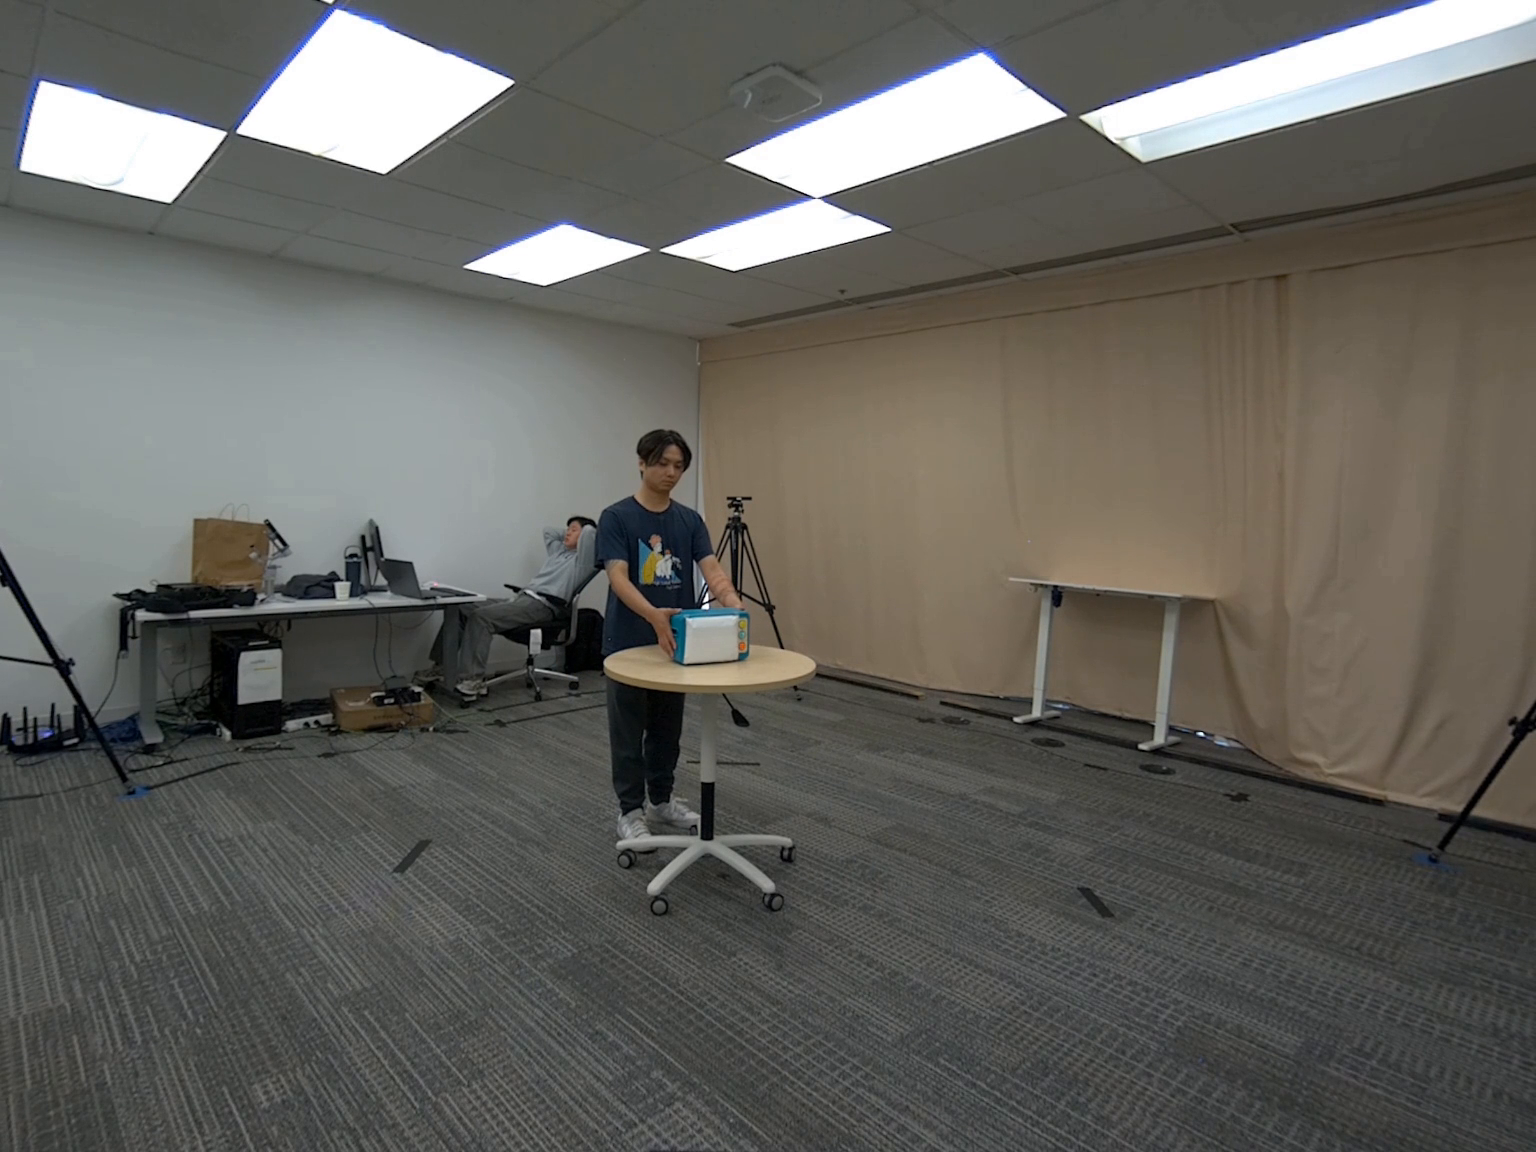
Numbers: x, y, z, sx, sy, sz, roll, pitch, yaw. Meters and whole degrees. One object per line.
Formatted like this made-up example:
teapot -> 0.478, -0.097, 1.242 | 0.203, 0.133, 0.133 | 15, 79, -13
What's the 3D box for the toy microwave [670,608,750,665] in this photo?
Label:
toy microwave -> -0.217, 0.216, 3.055 | 0.281, 0.183, 0.155 | 0, 4, -24
